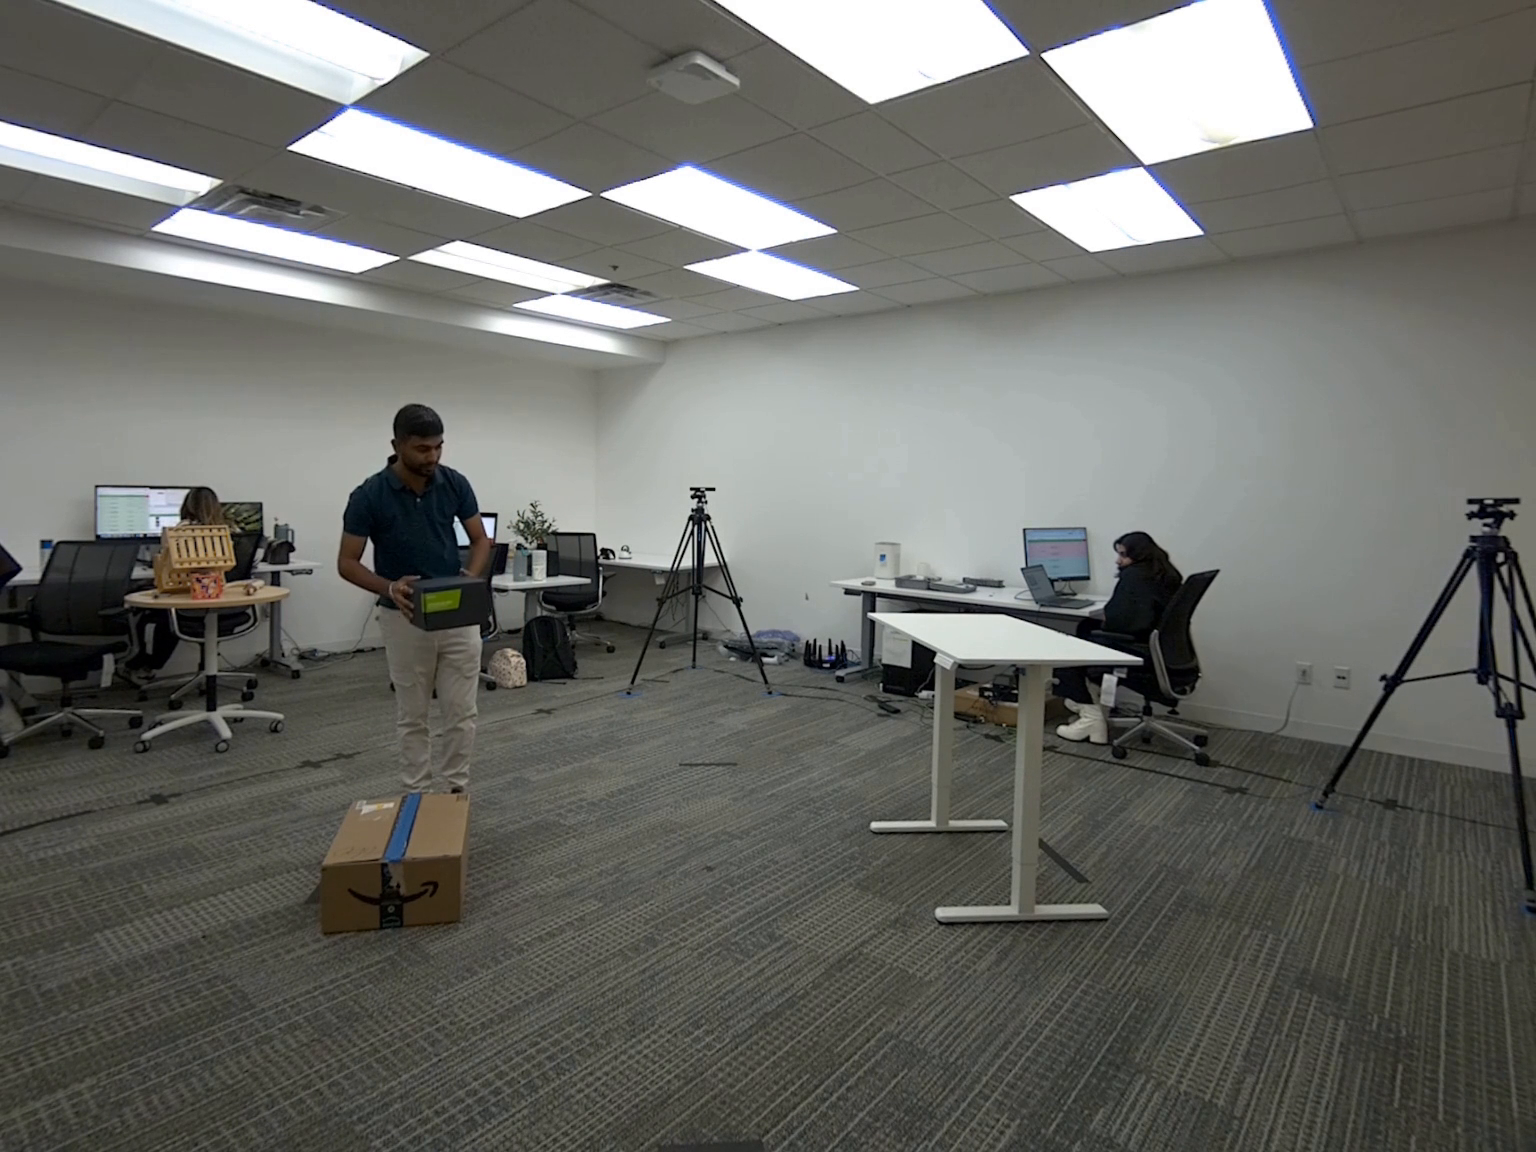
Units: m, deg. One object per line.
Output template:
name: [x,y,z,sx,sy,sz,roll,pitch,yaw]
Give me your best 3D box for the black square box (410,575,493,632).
black square box: [-1.158,0.100,3.053,0.222,0.155,0.224,-7,8,-36]
